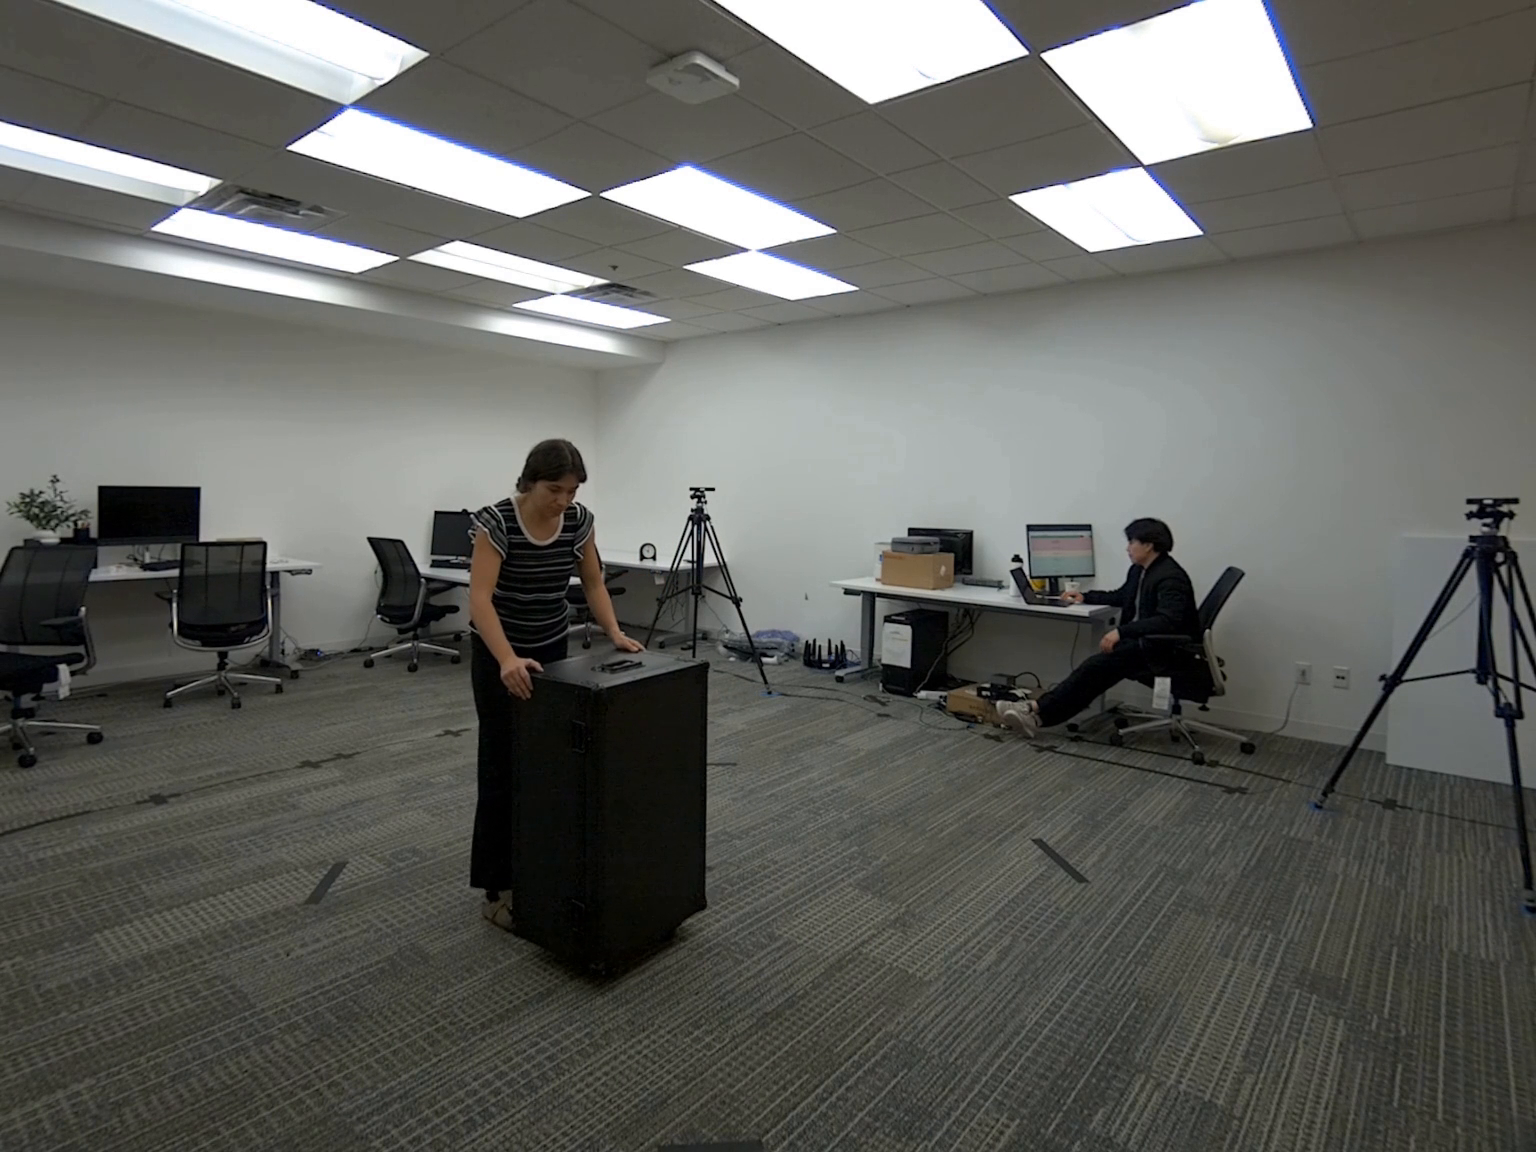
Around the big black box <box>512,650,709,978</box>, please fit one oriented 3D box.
[{"bbox_3d":[-0.488,0.690,2.564,0.409,0.859,0.506,2,4,35],"label":"big black box"}]
